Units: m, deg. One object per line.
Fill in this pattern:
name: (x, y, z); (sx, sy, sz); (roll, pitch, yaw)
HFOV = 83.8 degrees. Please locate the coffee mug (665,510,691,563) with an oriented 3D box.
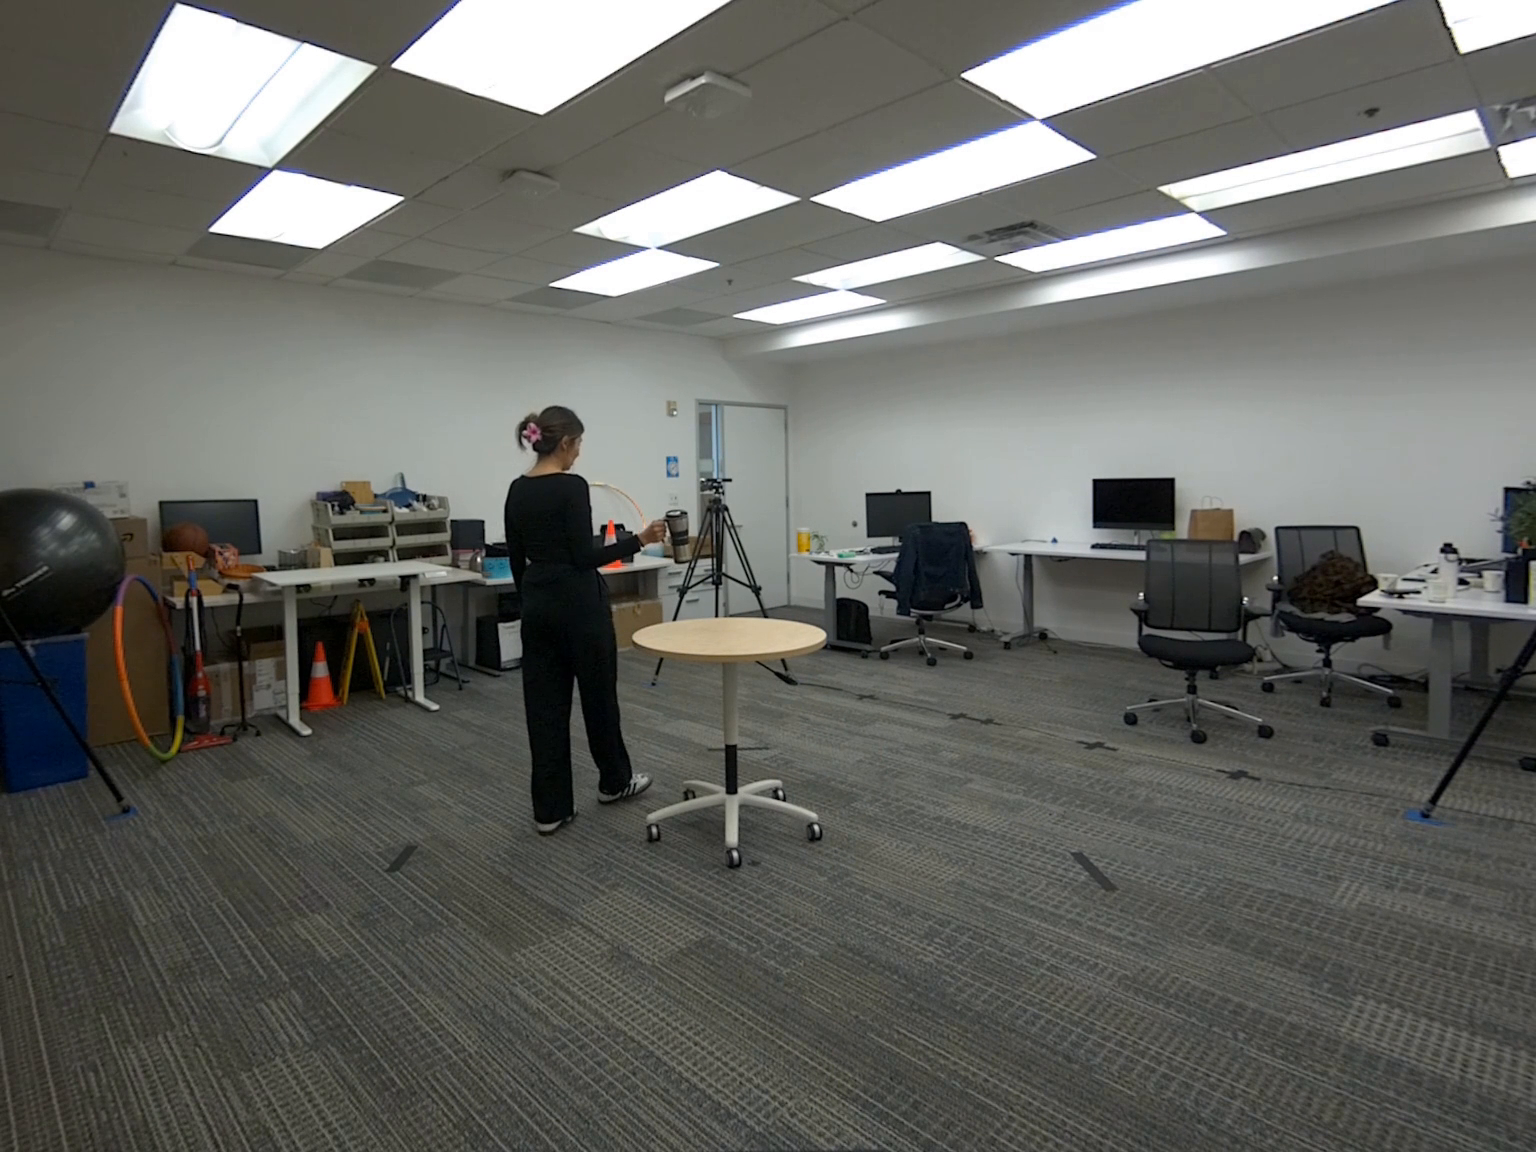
coffee mug: (-0.360, -0.152, 3.356); (0.125, 0.200, 0.087); (4, 18, 33)
